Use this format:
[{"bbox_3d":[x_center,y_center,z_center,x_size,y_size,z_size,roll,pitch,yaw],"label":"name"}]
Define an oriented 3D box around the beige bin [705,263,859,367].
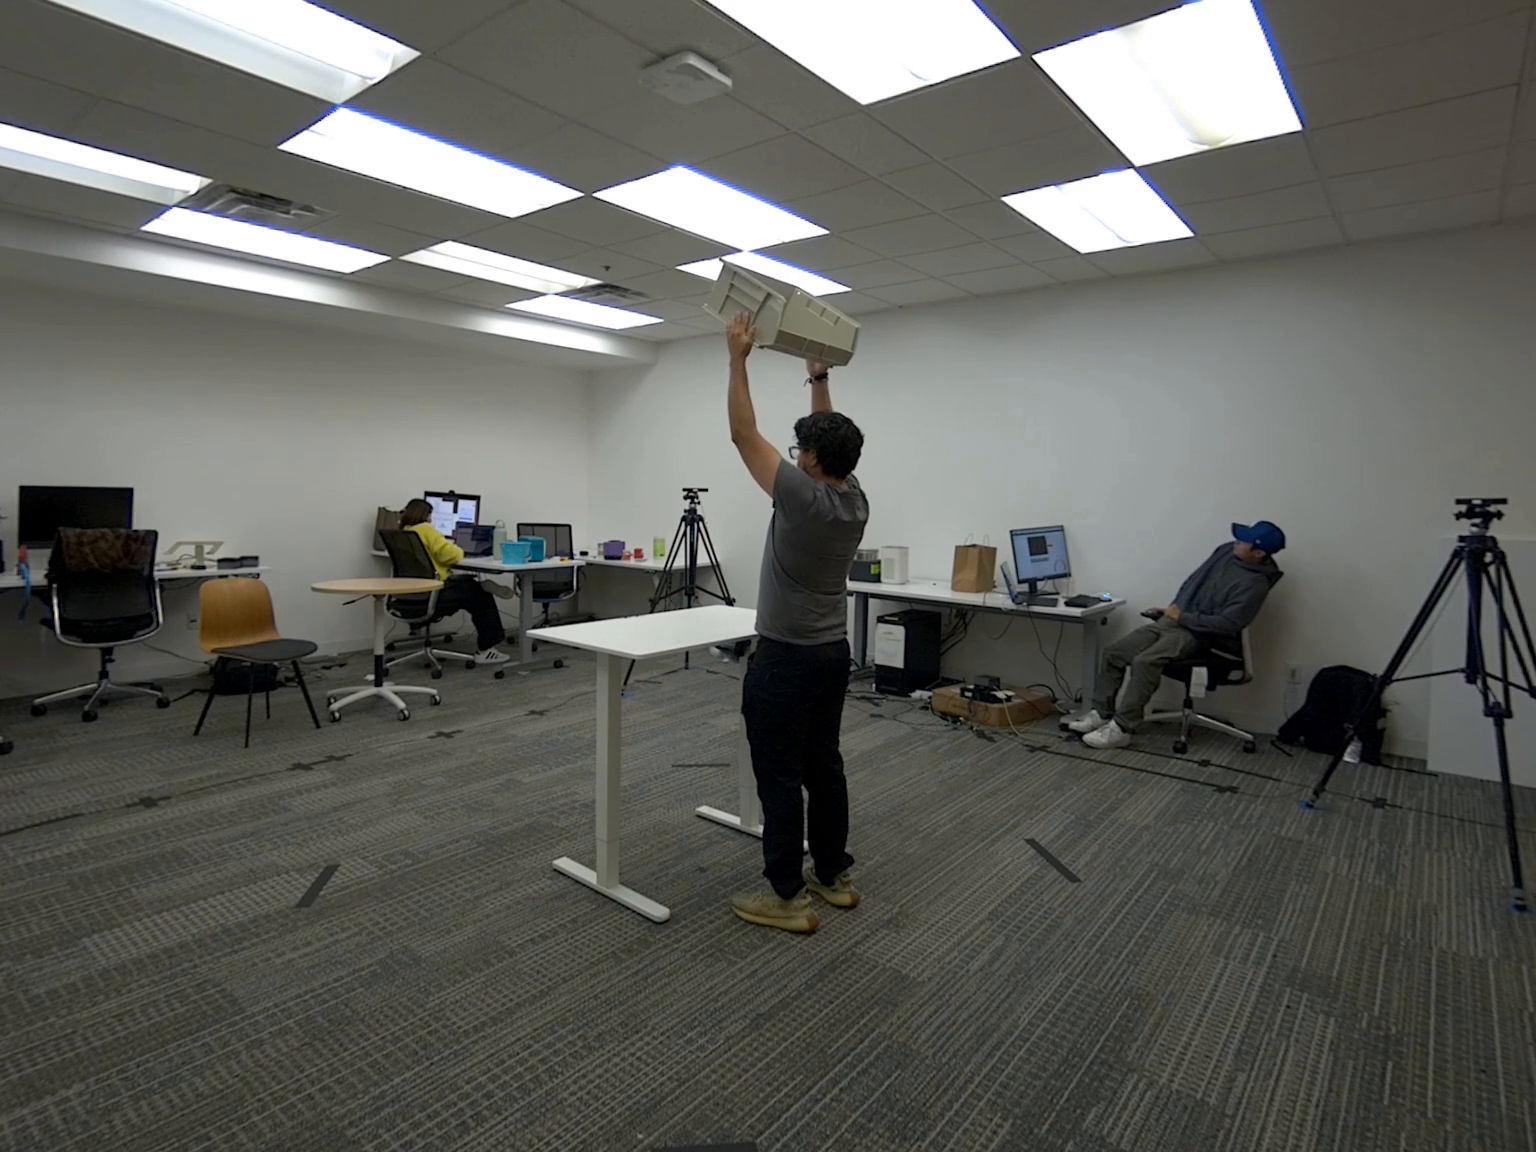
[{"bbox_3d":[0.042,-0.885,2.924,0.409,0.187,0.393,-1,35,-48],"label":"beige bin"}]
